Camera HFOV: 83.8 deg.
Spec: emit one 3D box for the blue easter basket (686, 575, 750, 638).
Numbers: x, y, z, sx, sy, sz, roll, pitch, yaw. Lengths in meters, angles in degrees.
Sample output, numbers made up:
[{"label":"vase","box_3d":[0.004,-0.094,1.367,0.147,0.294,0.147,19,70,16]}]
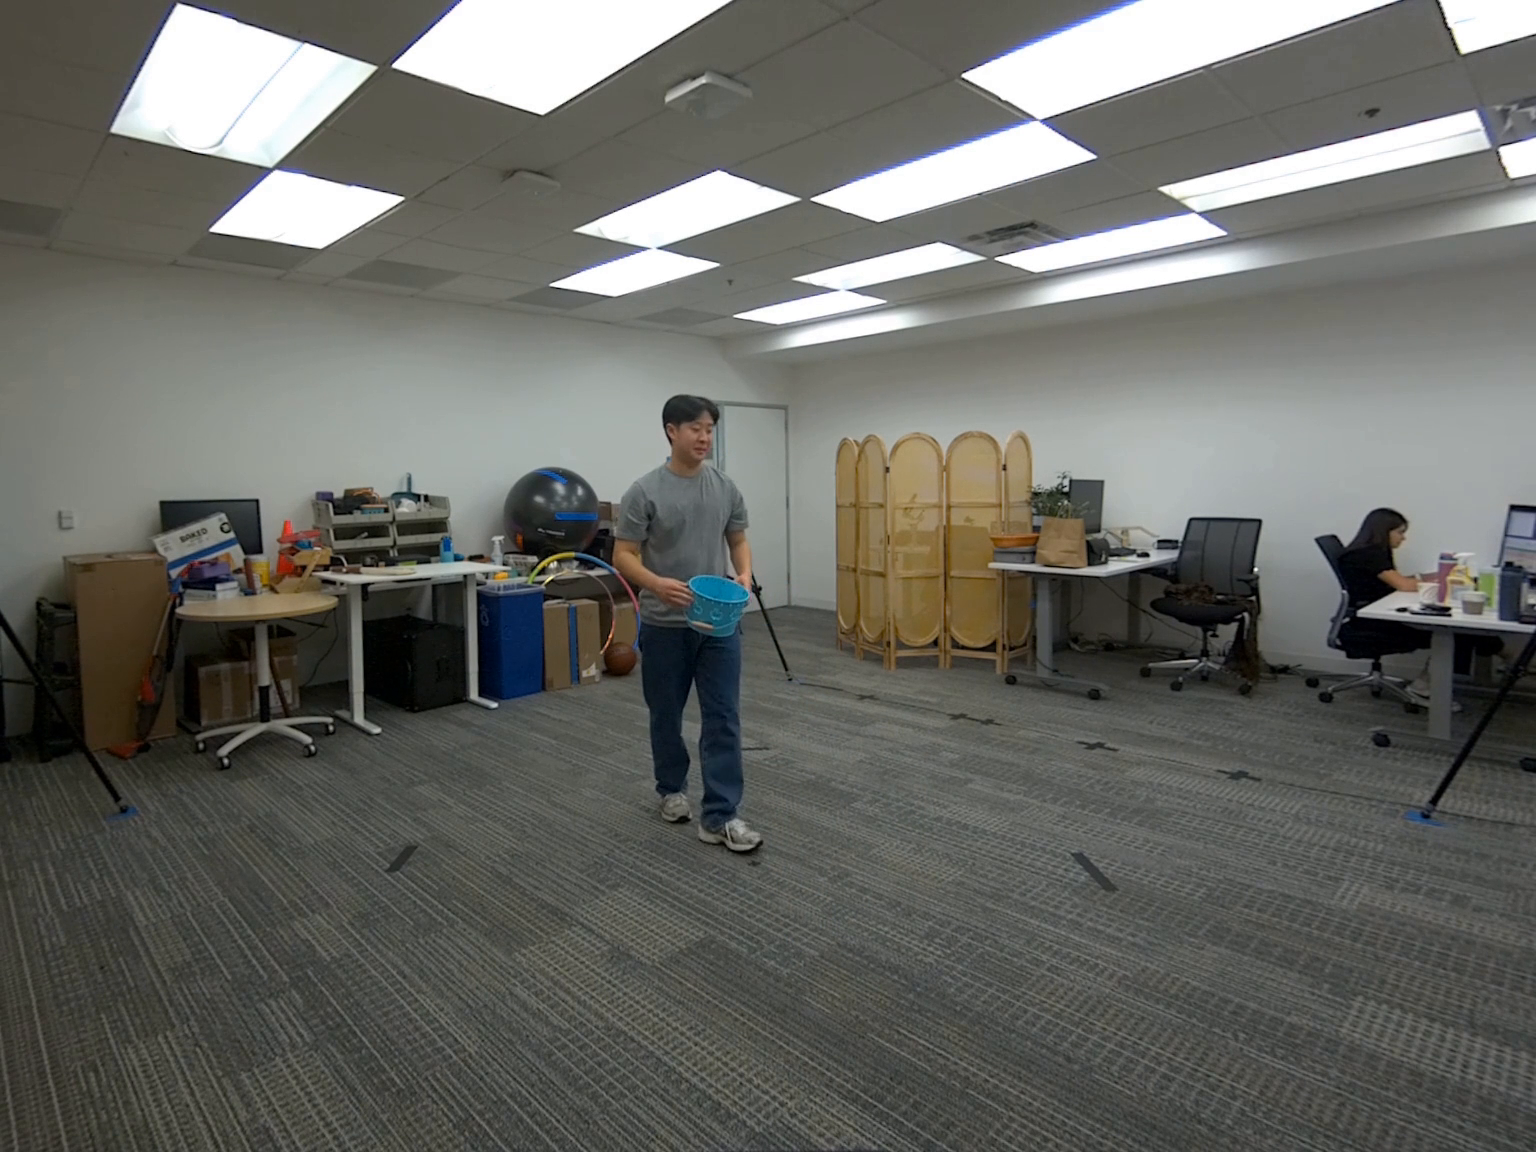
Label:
[{"label":"blue easter basket","box_3d":[-0.204,0.118,3.165,0.242,0.154,0.247,11,17,-5]}]
